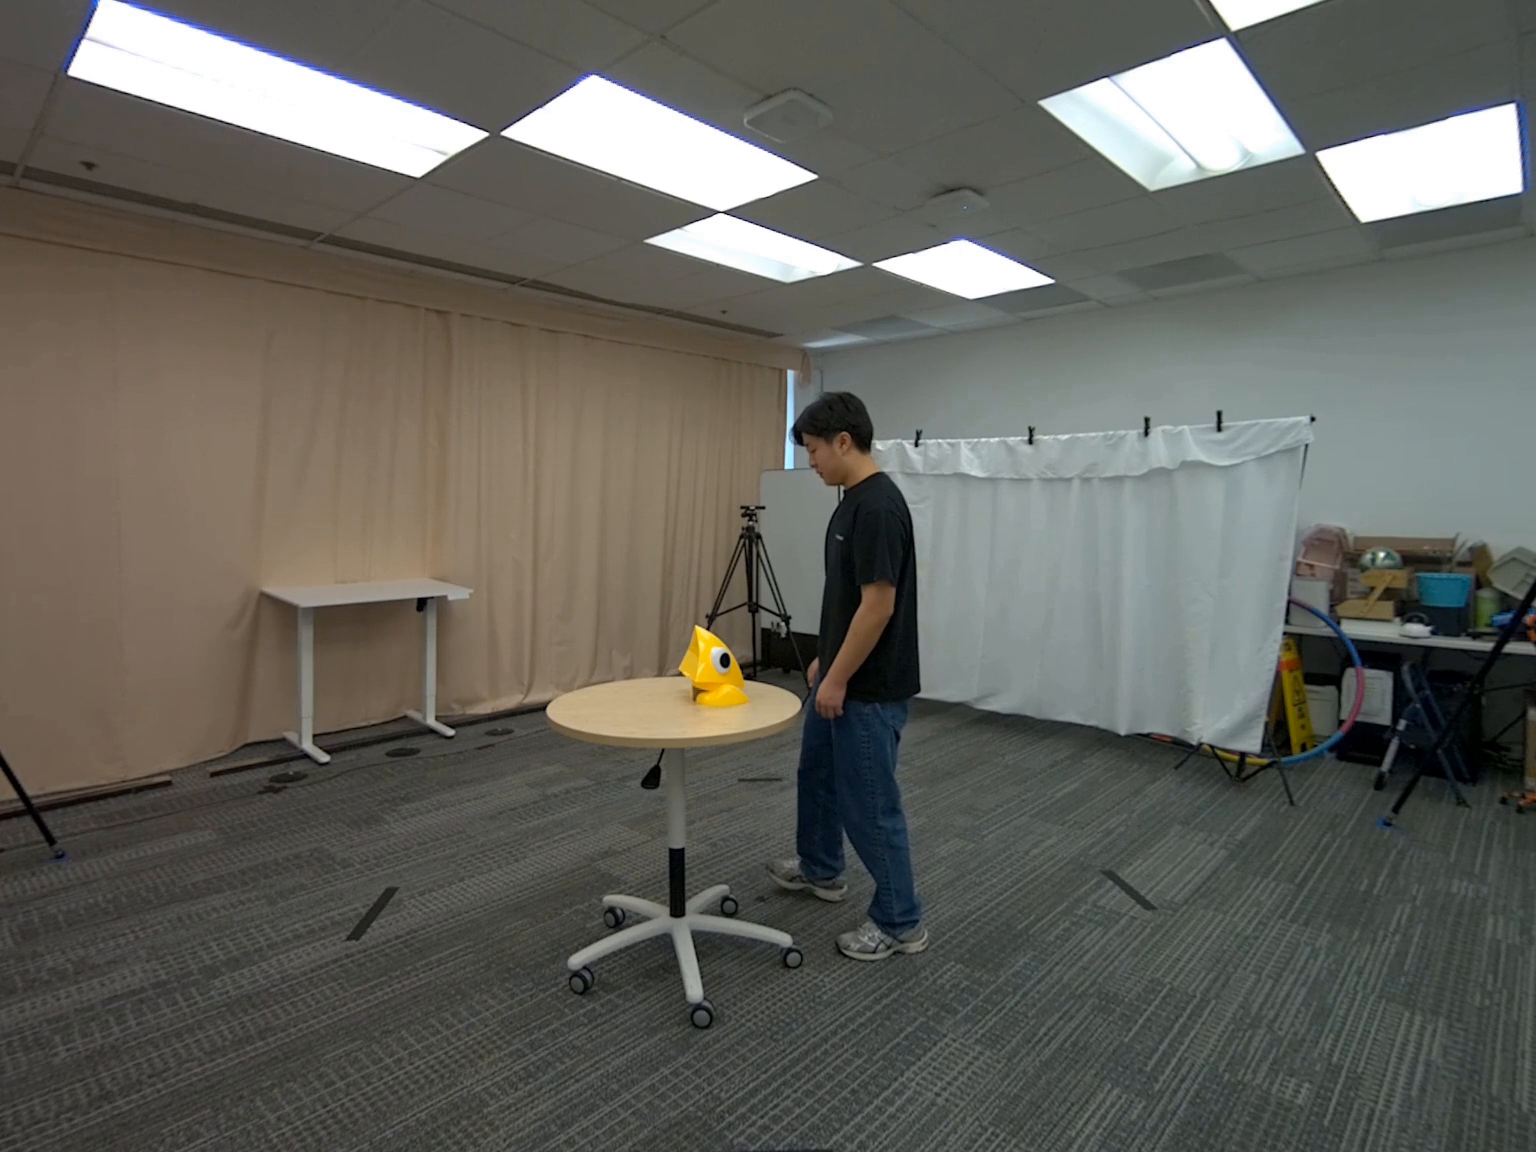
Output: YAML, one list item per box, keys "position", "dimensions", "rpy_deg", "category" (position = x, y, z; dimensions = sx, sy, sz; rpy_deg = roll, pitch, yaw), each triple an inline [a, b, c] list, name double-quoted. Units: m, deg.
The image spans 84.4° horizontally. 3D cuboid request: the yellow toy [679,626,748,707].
- position: [-0.161, 0.270, 2.593]
  dimensions: [0.190, 0.230, 0.209]
  rpy_deg: [-1, 4, -18]
  category: "yellow toy"
